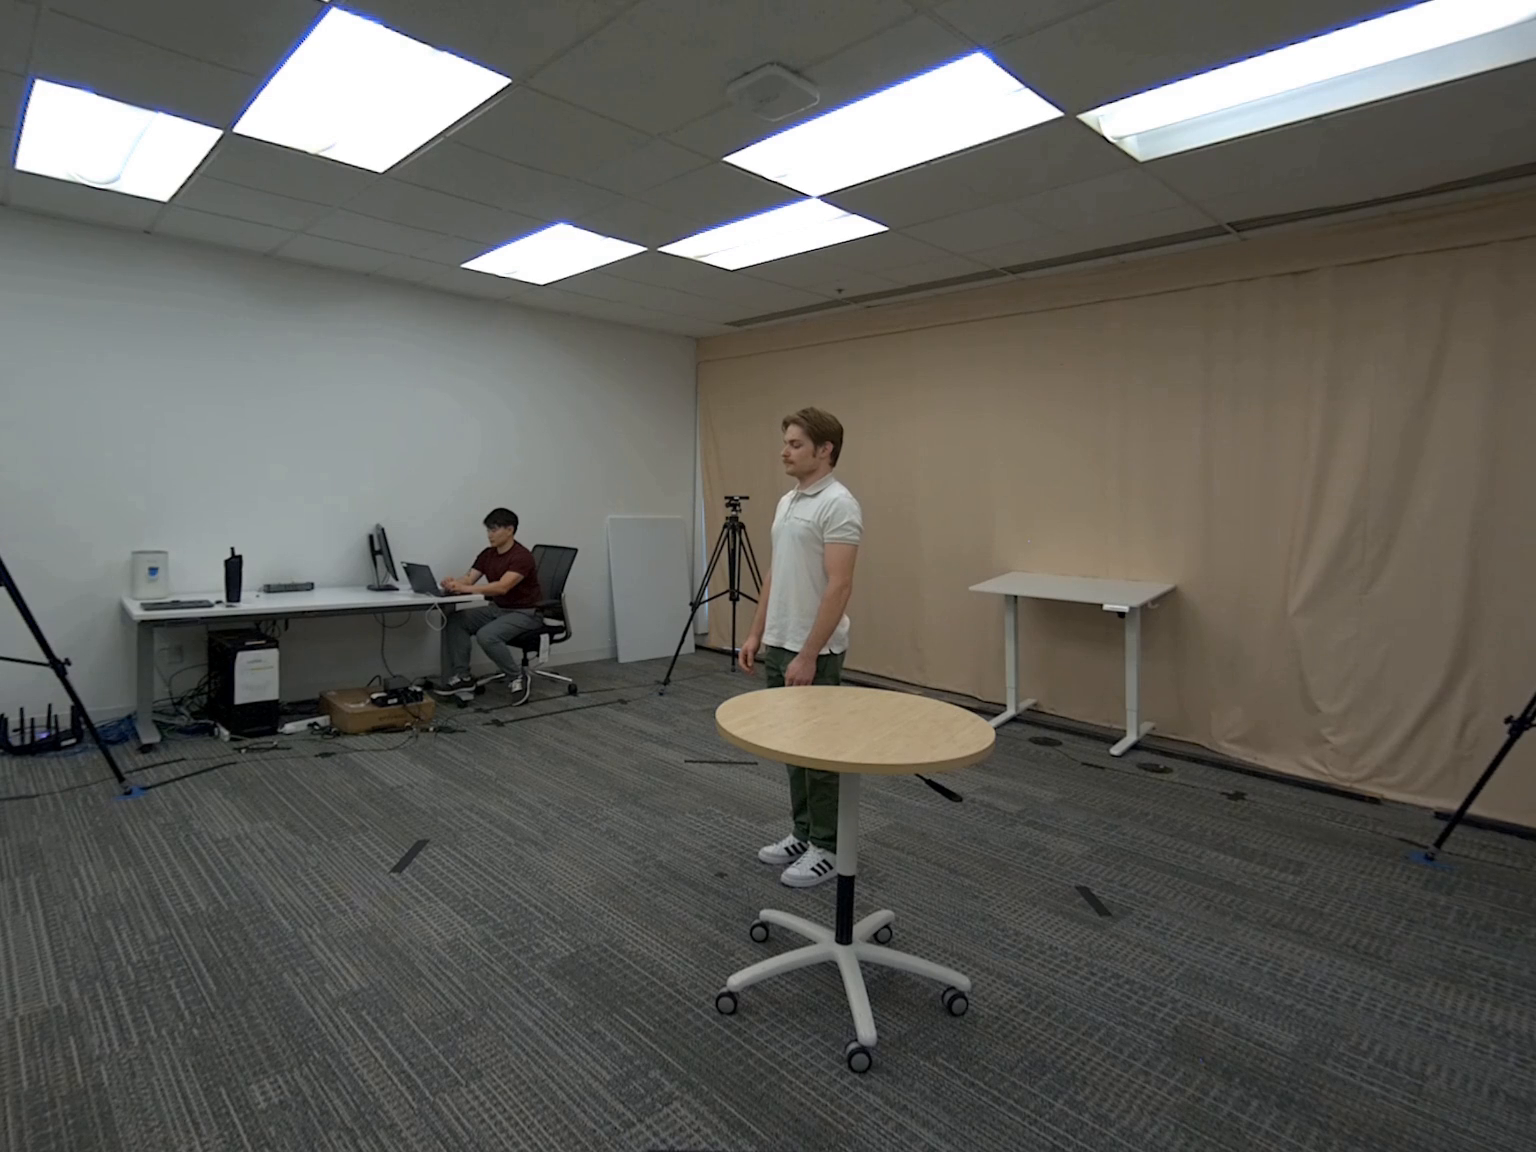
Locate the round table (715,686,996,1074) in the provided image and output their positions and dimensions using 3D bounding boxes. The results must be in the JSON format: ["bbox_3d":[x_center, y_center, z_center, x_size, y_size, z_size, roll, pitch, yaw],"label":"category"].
[{"bbox_3d":[0.217,0.795,2.375,0.763,0.791,0.767,2,5,-2],"label":"round table"}]
